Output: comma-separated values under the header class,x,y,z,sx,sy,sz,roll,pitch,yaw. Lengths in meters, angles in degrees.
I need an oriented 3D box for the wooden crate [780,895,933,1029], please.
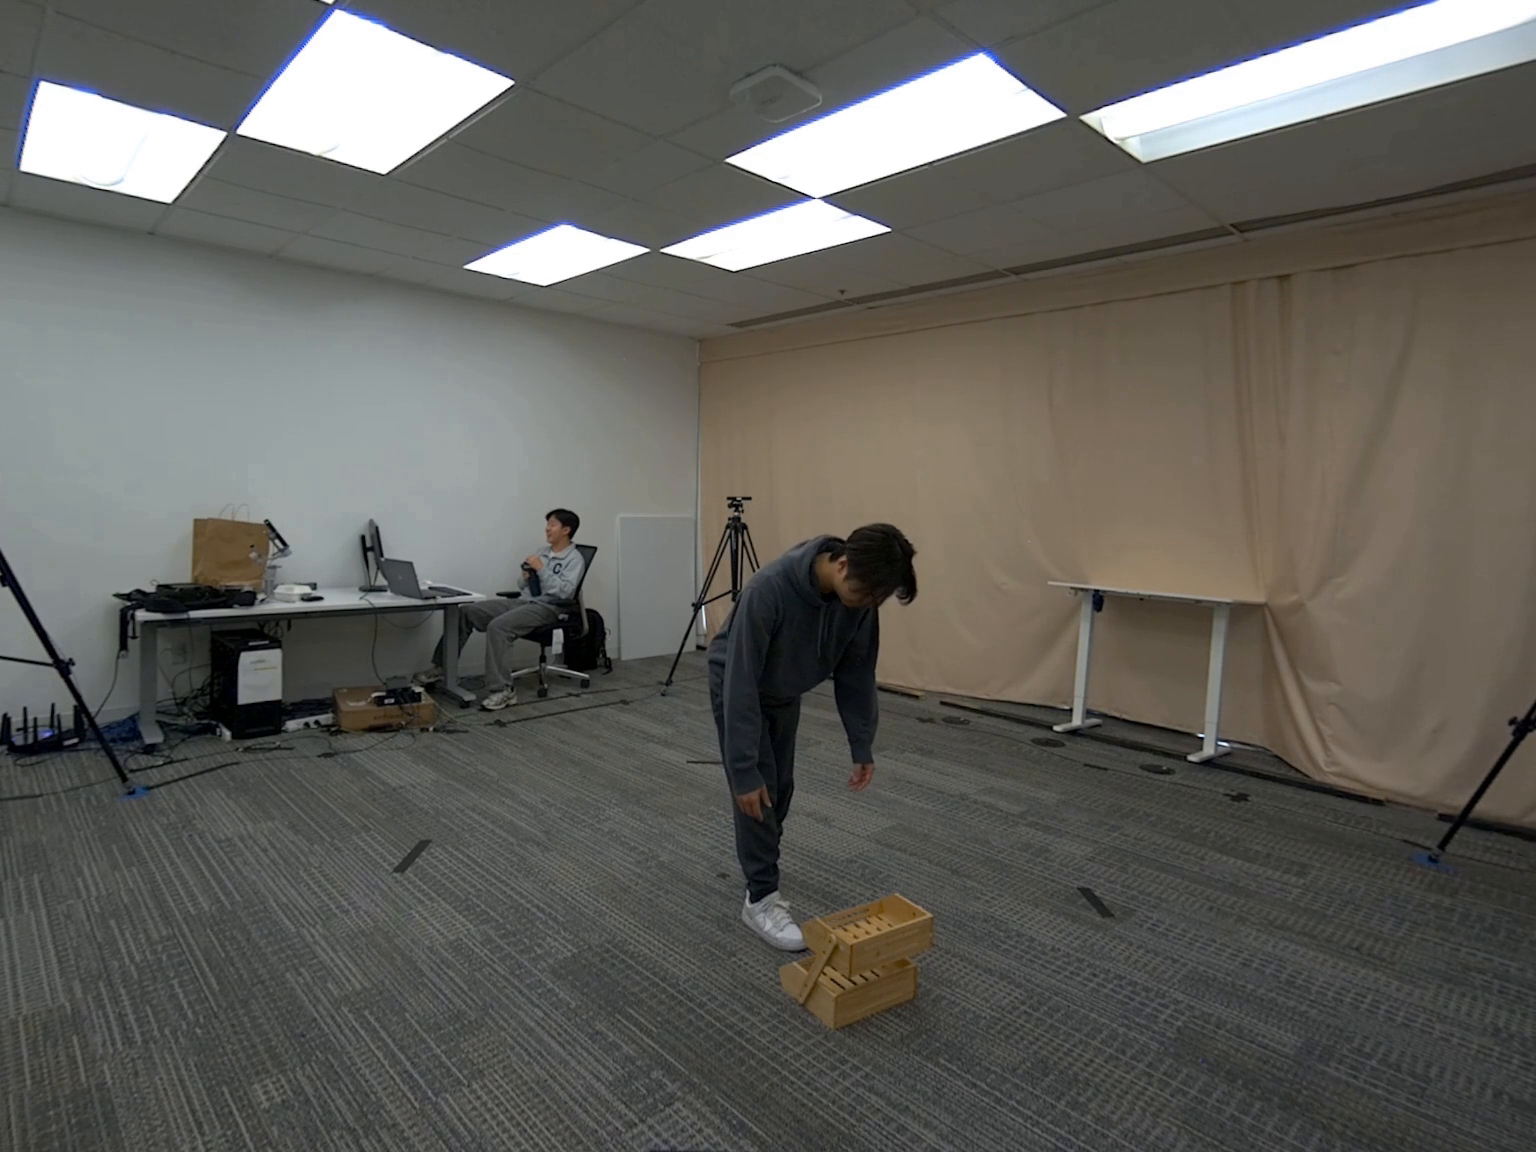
class,x,y,z,sx,sy,sz,roll,pitch,yaw
wooden crate,0.239,1.049,2.367,0.317,0.272,0.309,-2,6,-34
